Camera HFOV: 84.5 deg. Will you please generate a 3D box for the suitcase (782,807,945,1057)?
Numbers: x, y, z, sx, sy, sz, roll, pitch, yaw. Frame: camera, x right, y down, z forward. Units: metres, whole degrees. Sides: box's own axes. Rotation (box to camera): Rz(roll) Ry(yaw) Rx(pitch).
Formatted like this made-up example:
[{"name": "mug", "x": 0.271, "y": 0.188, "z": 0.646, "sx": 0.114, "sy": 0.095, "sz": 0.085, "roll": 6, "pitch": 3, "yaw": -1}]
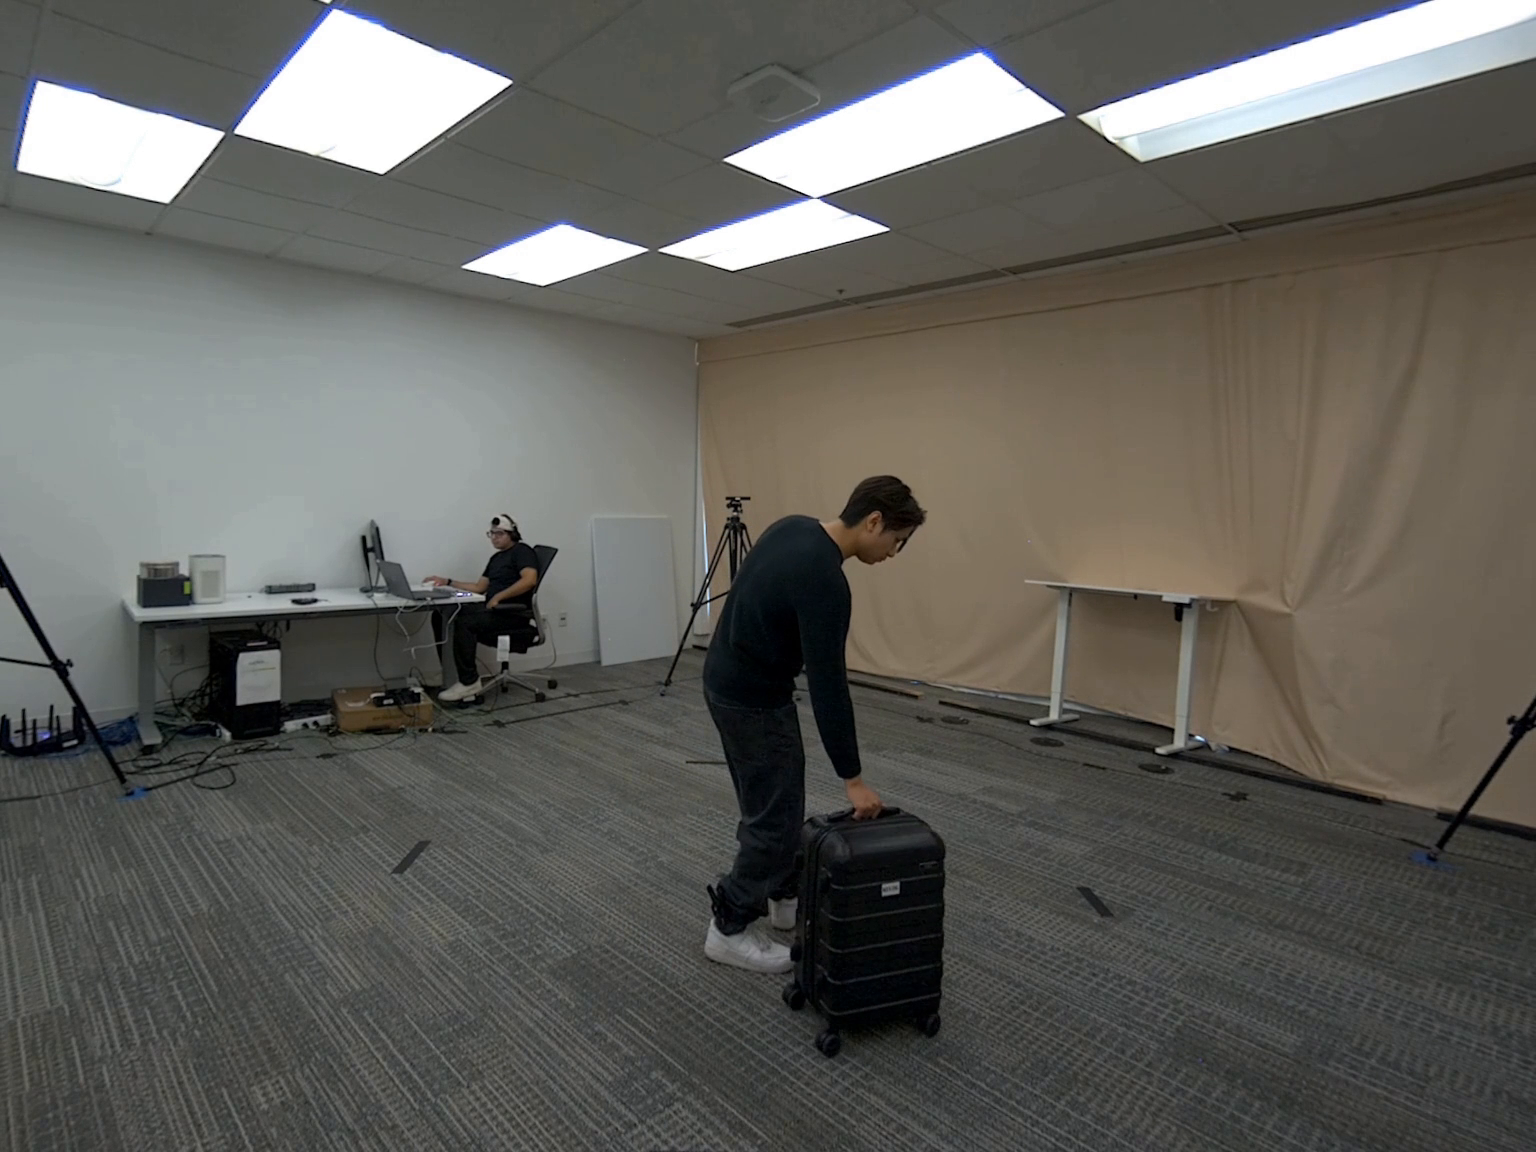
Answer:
[{"name": "suitcase", "x": 0.268, "y": 0.919, "z": 2.264, "sx": 0.370, "sy": 0.548, "sz": 0.252, "roll": 2, "pitch": 2, "yaw": -19}]
